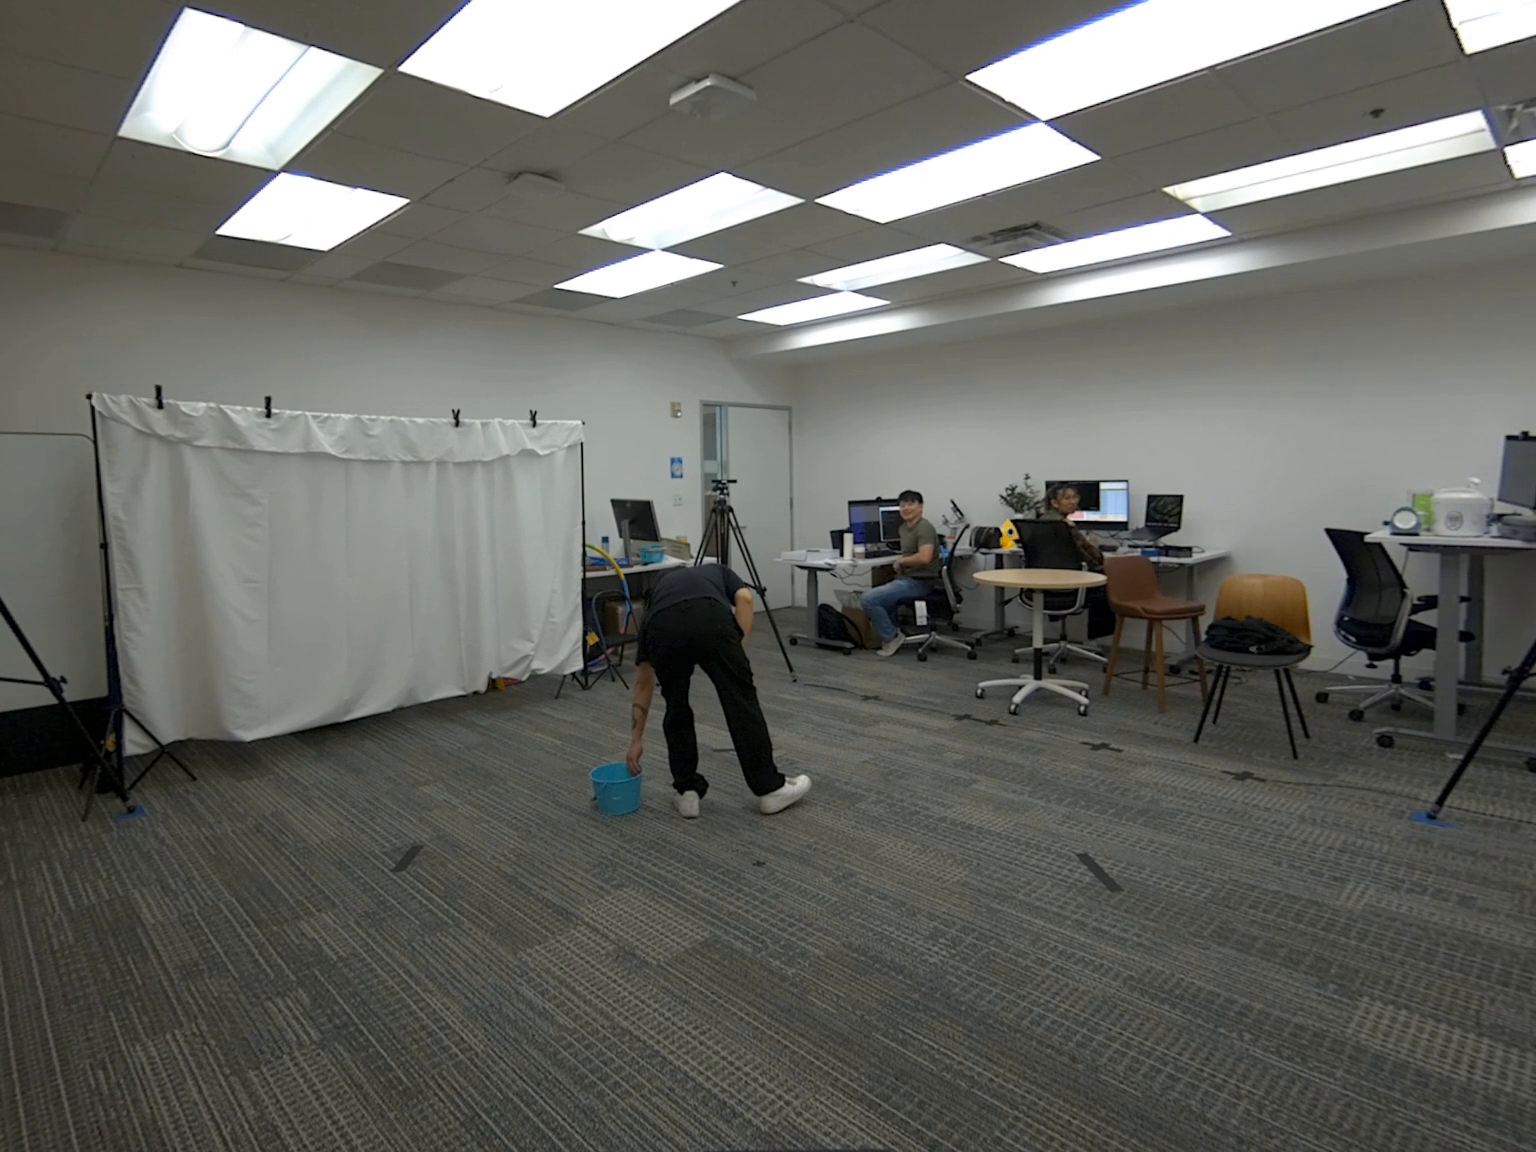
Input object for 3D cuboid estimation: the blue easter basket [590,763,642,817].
[{"bbox_3d":[-0.638,0.914,3.682,0.243,0.155,0.245,-3,7,-1],"label":"blue easter basket"}]
